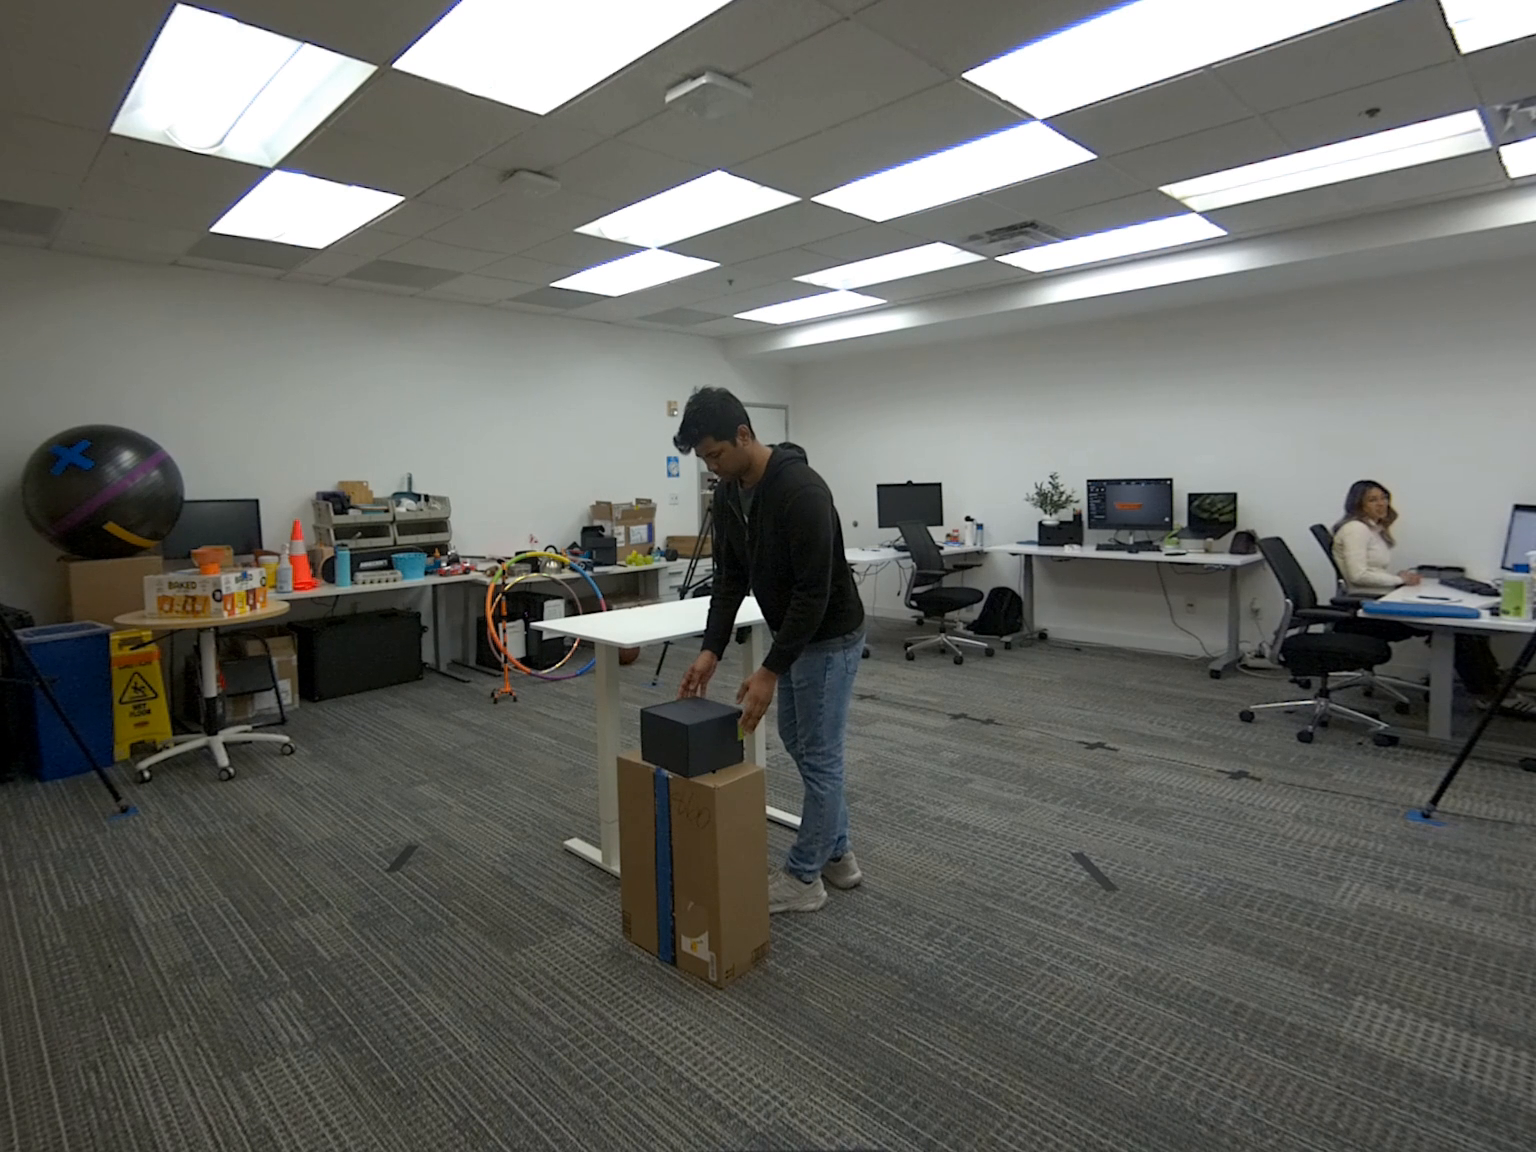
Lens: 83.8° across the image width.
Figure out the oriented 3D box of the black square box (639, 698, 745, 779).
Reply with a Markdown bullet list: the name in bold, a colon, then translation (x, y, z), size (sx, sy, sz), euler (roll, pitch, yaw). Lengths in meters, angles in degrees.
- **black square box**: translation (-0.223, 0.470, 2.531), size (0.211, 0.155, 0.235), euler (-6, 7, -43)
